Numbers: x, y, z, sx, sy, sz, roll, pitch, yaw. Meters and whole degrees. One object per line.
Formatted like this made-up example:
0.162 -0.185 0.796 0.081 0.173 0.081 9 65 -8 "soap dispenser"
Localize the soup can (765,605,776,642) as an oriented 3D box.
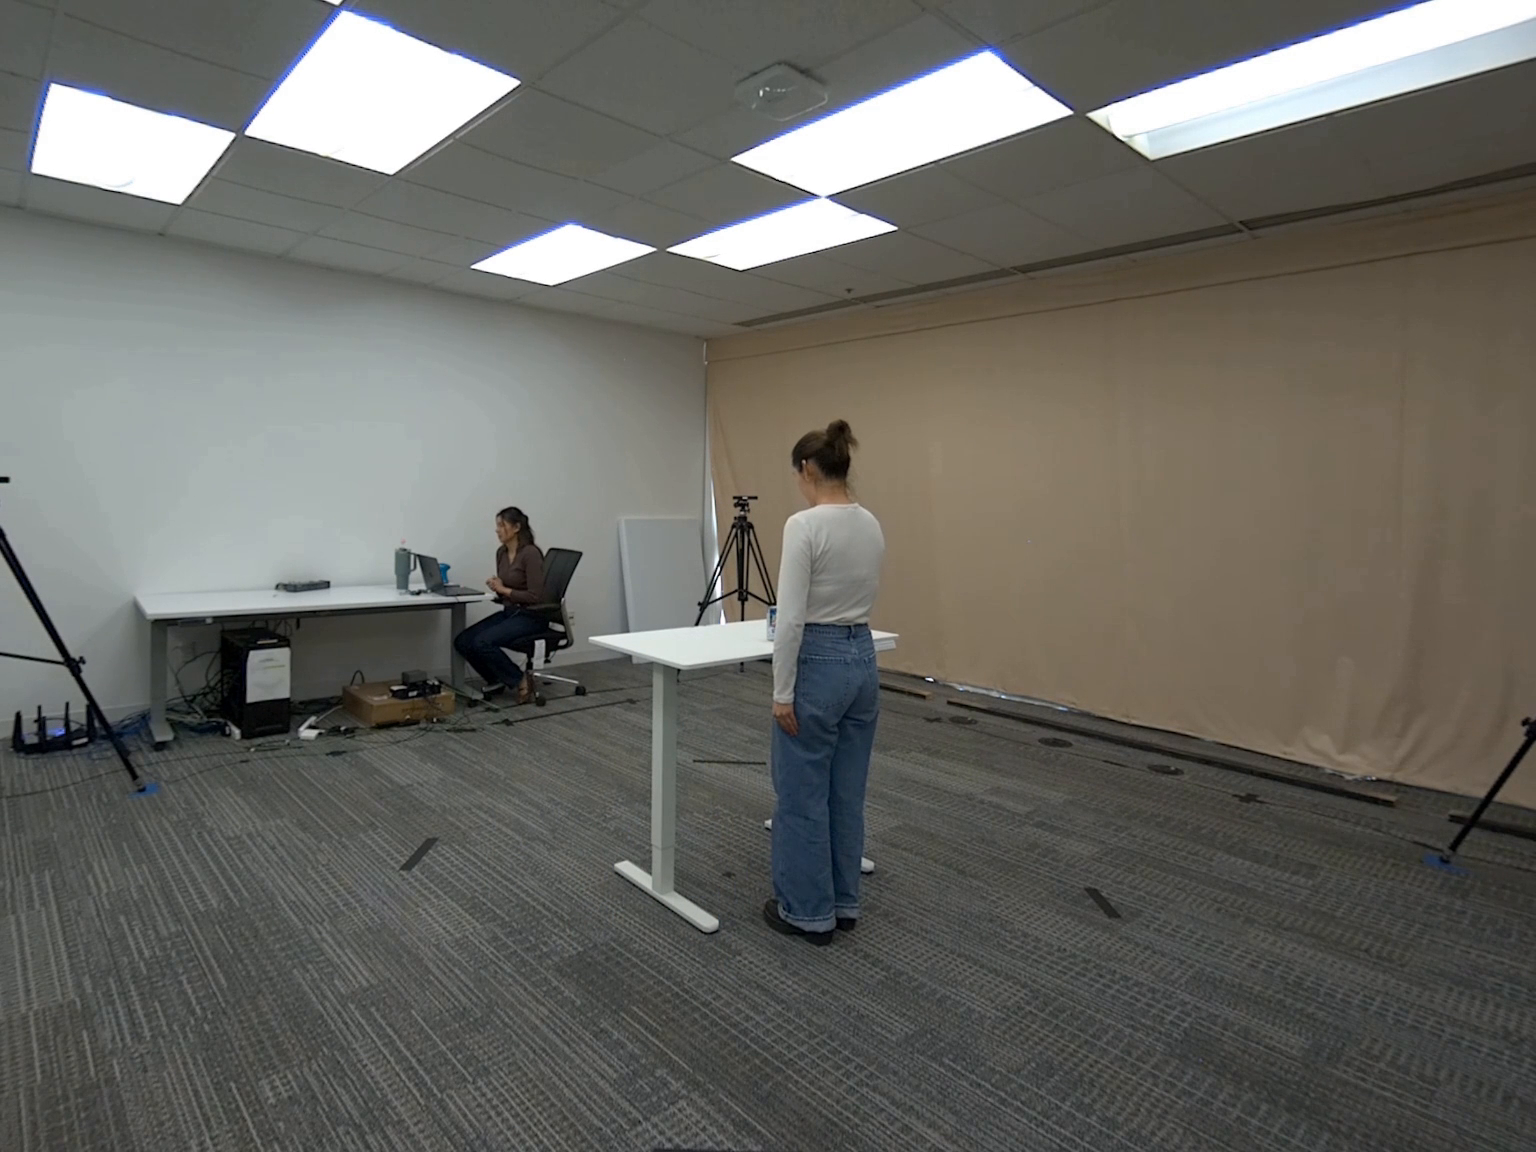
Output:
0.023 0.166 3.021 0.067 0.121 0.067 0 2 -1 "soup can"
